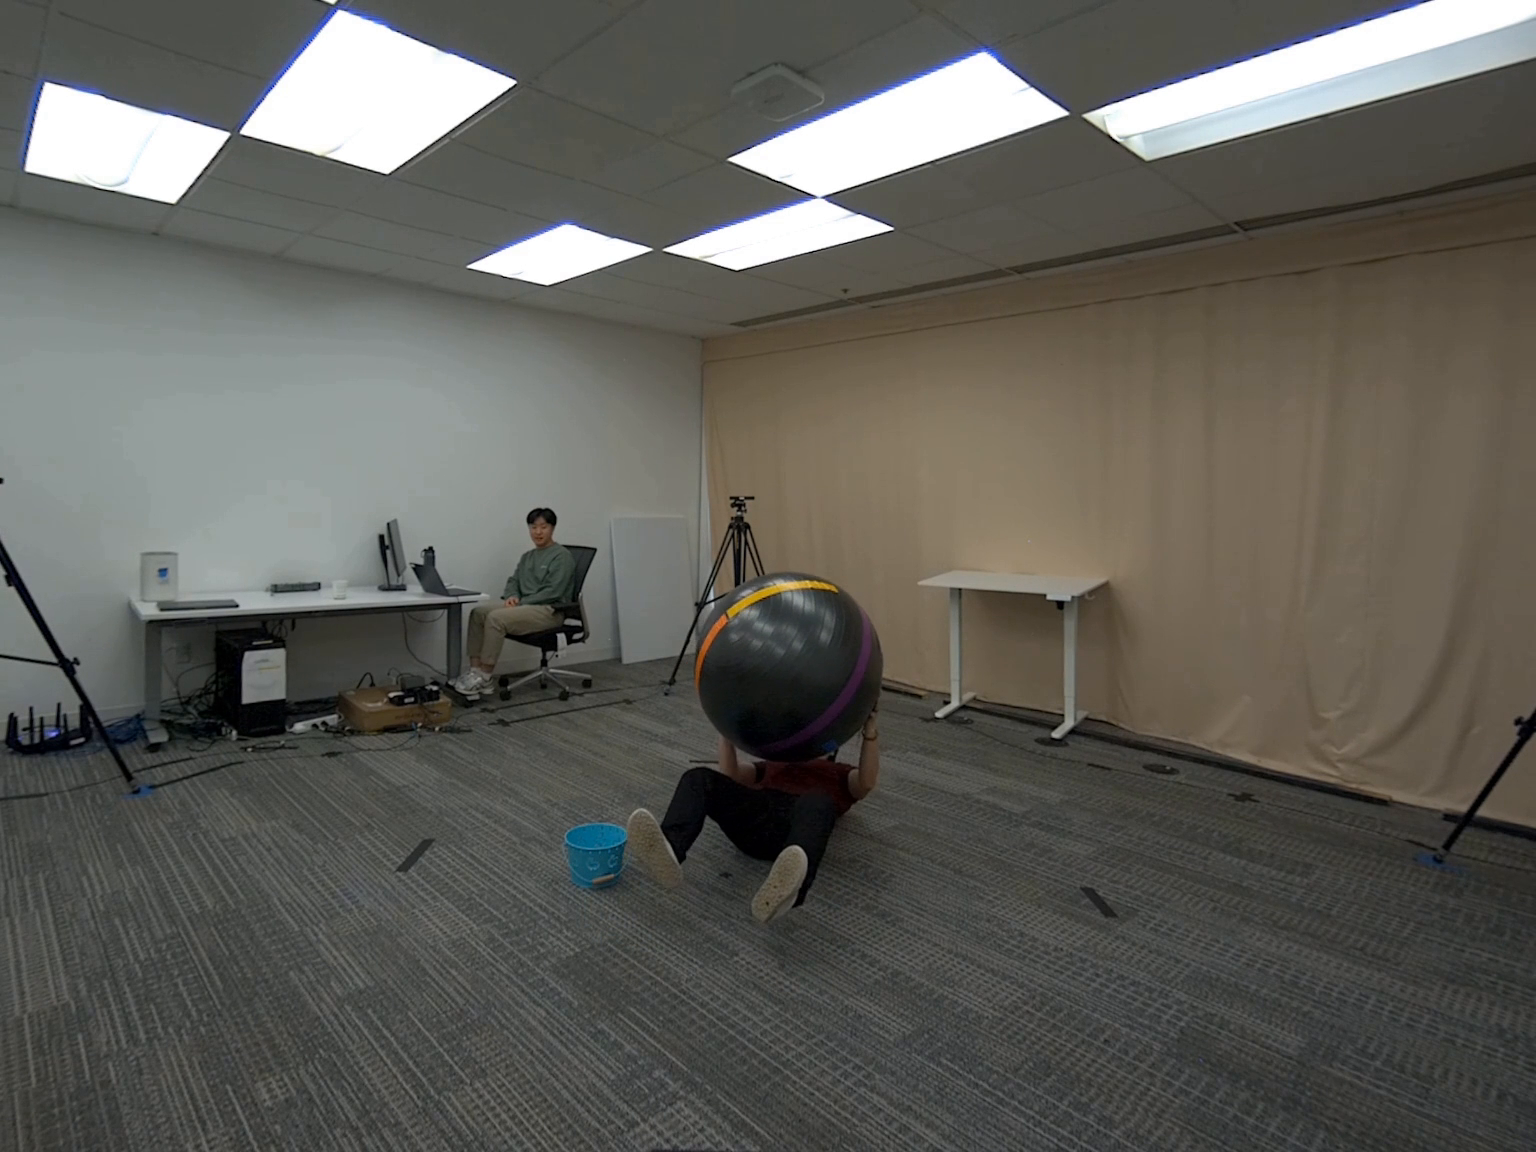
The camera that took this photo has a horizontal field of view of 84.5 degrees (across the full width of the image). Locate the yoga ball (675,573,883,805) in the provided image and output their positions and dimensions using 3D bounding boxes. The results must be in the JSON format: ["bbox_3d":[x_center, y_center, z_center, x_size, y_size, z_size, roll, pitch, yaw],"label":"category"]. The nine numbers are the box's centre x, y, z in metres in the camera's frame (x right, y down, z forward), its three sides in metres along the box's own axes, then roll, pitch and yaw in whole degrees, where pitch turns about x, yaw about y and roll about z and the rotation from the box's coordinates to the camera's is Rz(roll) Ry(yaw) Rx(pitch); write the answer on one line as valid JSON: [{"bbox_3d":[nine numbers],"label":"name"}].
[{"bbox_3d":[0.068,0.367,3.389,0.757,0.756,0.761,1,4,-1],"label":"yoga ball"}]
